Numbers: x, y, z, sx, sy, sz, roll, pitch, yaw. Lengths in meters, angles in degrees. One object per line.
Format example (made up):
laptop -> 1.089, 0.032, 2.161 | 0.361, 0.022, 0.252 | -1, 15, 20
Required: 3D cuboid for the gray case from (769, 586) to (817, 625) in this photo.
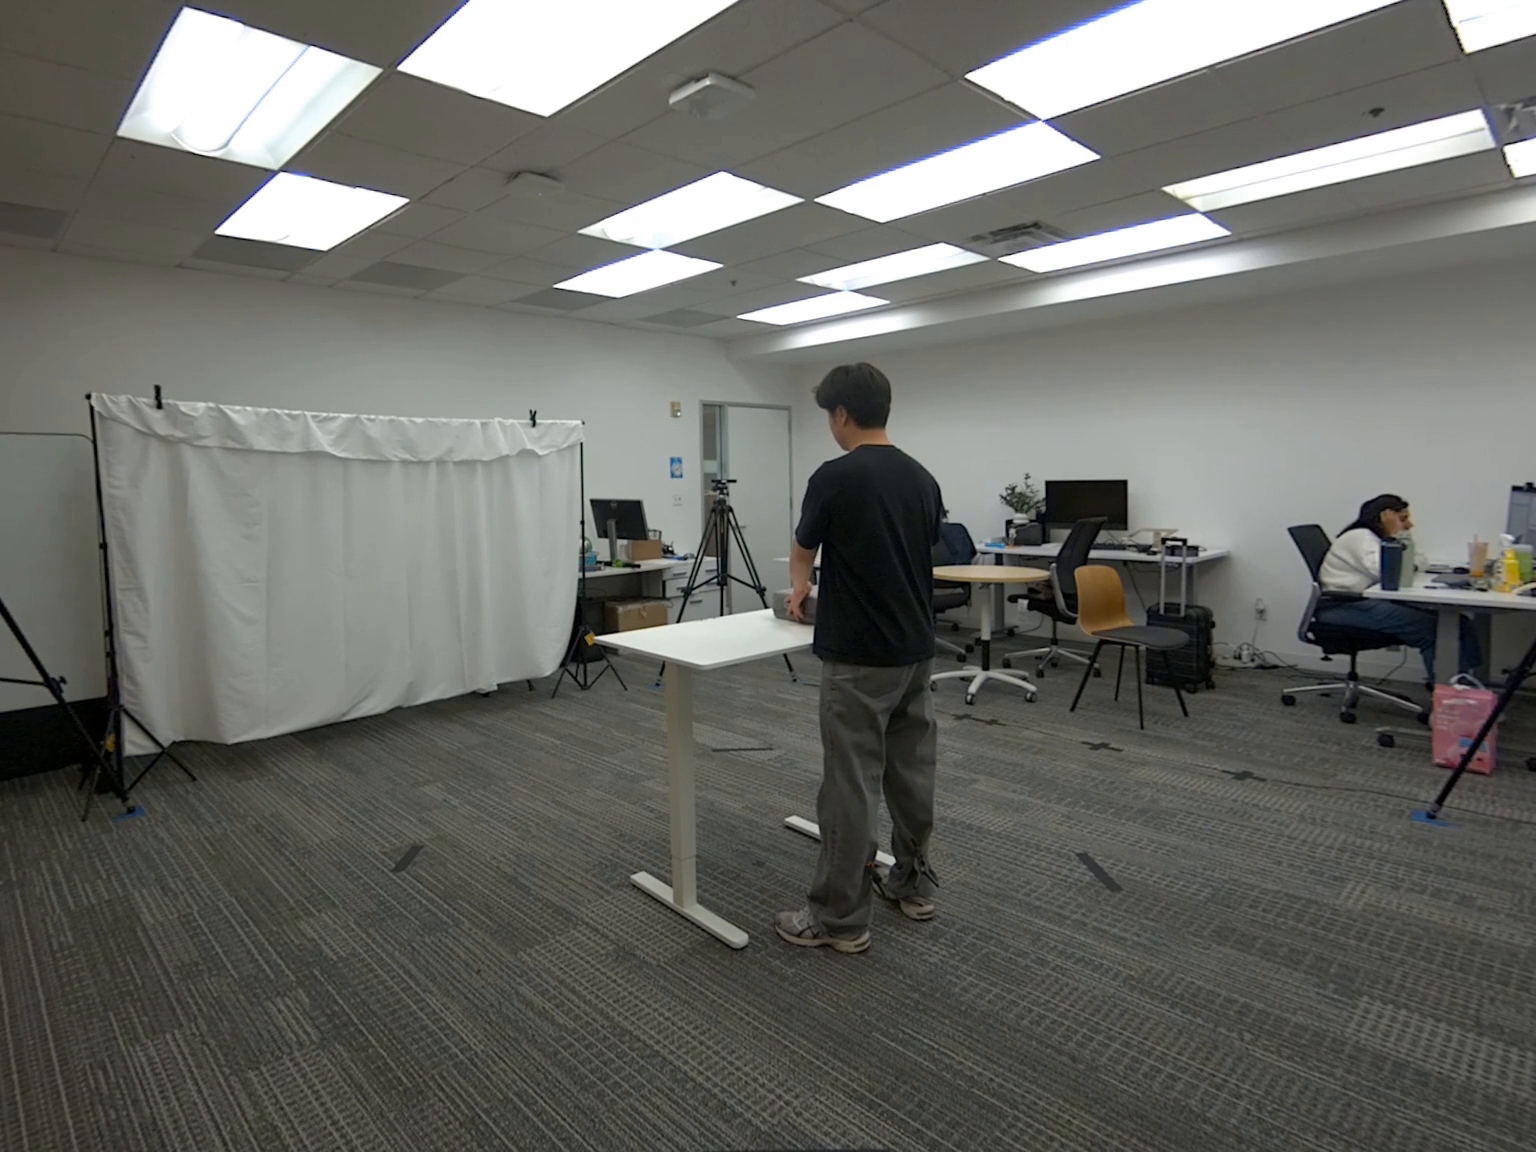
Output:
gray case -> 0.165, 0.103, 3.136 | 0.280, 0.102, 0.271 | -6, 8, -34
